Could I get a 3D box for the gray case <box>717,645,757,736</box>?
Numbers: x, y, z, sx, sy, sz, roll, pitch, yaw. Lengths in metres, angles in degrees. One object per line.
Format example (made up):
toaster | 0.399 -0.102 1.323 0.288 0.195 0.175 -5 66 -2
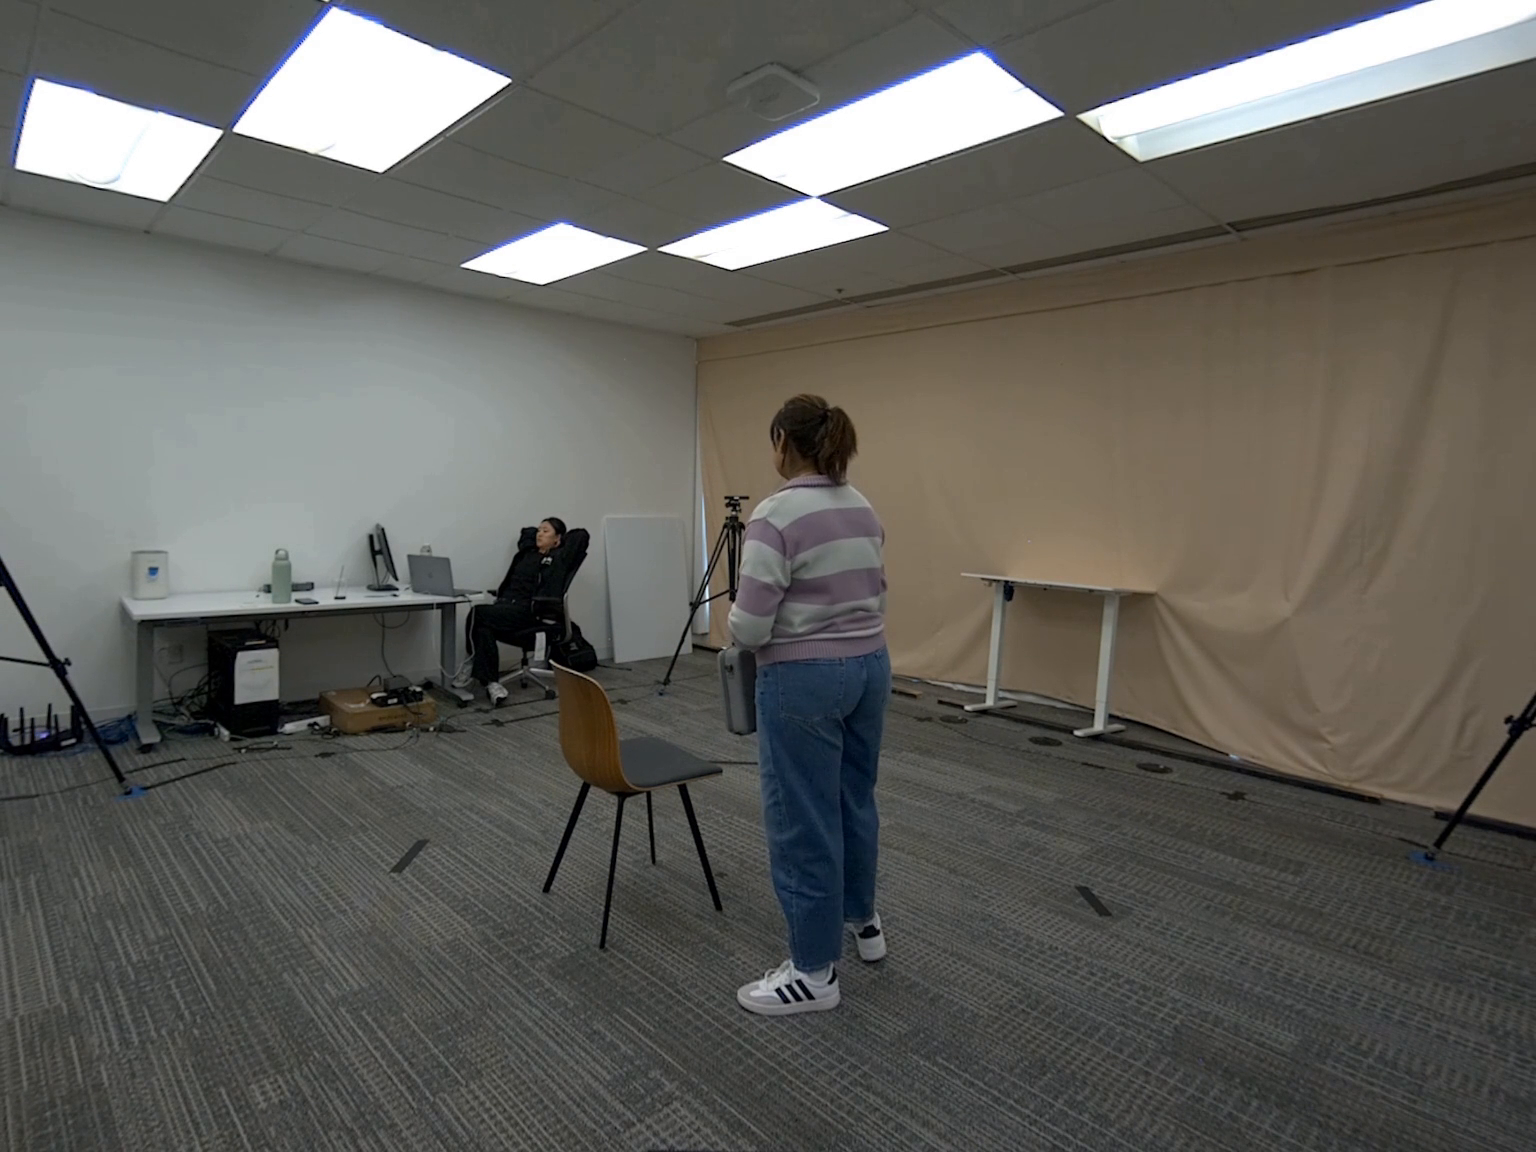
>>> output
gray case | -0.018 0.322 2.513 0.106 0.261 0.251 -6 0 45
